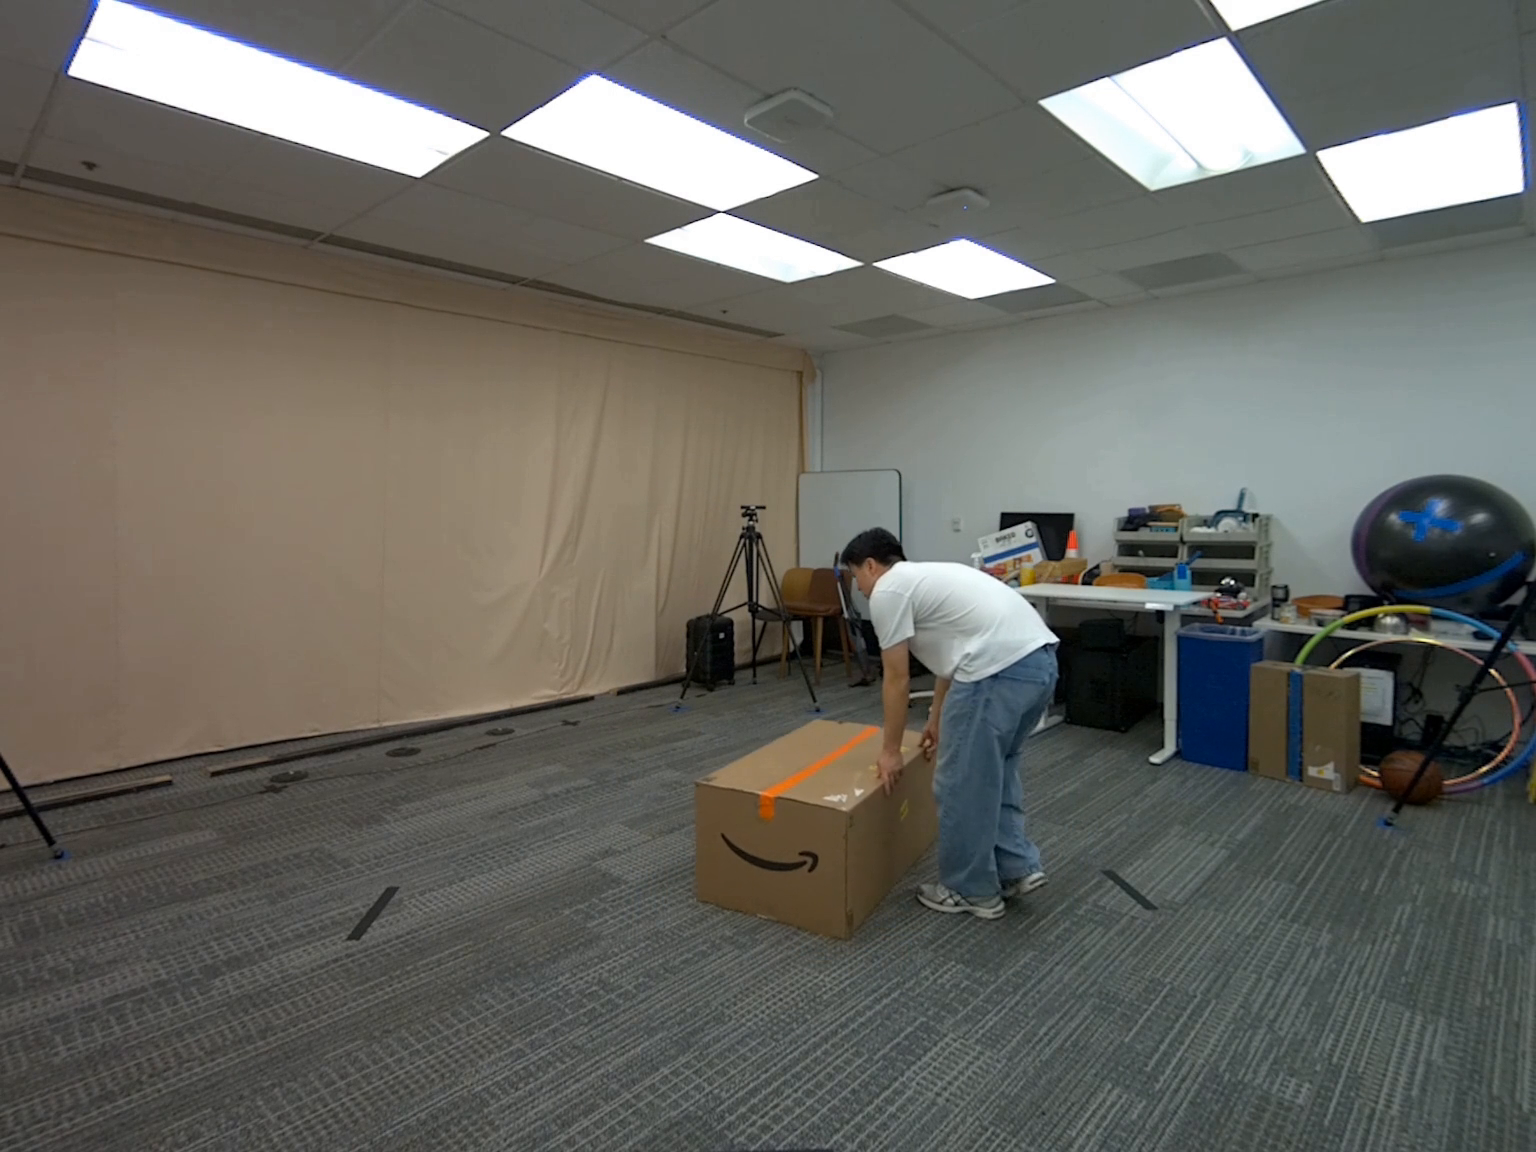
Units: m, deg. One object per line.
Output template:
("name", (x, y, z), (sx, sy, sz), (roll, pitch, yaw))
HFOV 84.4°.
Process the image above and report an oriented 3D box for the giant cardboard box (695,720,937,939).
("giant cardboard box", (0.235, 0.904, 3.254), (0.594, 0.425, 0.999), (3, 5, 29))
